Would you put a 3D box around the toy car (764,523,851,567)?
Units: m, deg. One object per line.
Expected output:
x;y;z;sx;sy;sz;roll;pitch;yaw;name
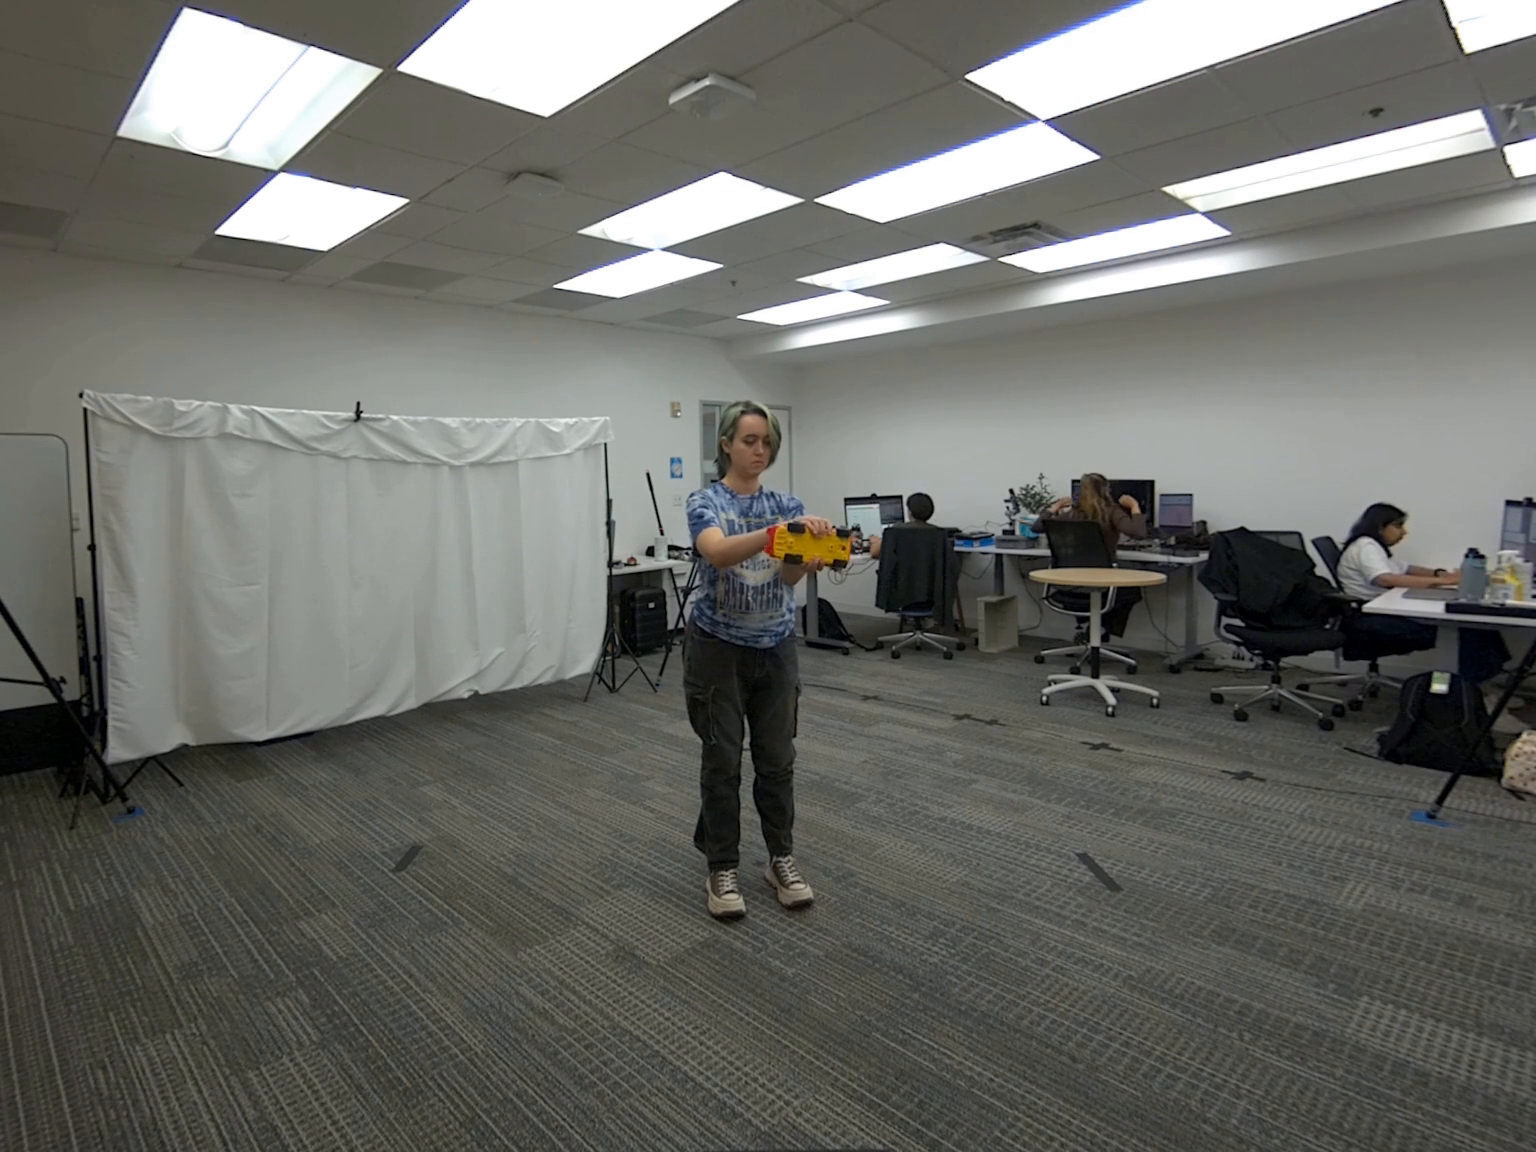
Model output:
0.112;-0.086;2.394;0.252;0.130;0.084;4;0;-10;toy car
